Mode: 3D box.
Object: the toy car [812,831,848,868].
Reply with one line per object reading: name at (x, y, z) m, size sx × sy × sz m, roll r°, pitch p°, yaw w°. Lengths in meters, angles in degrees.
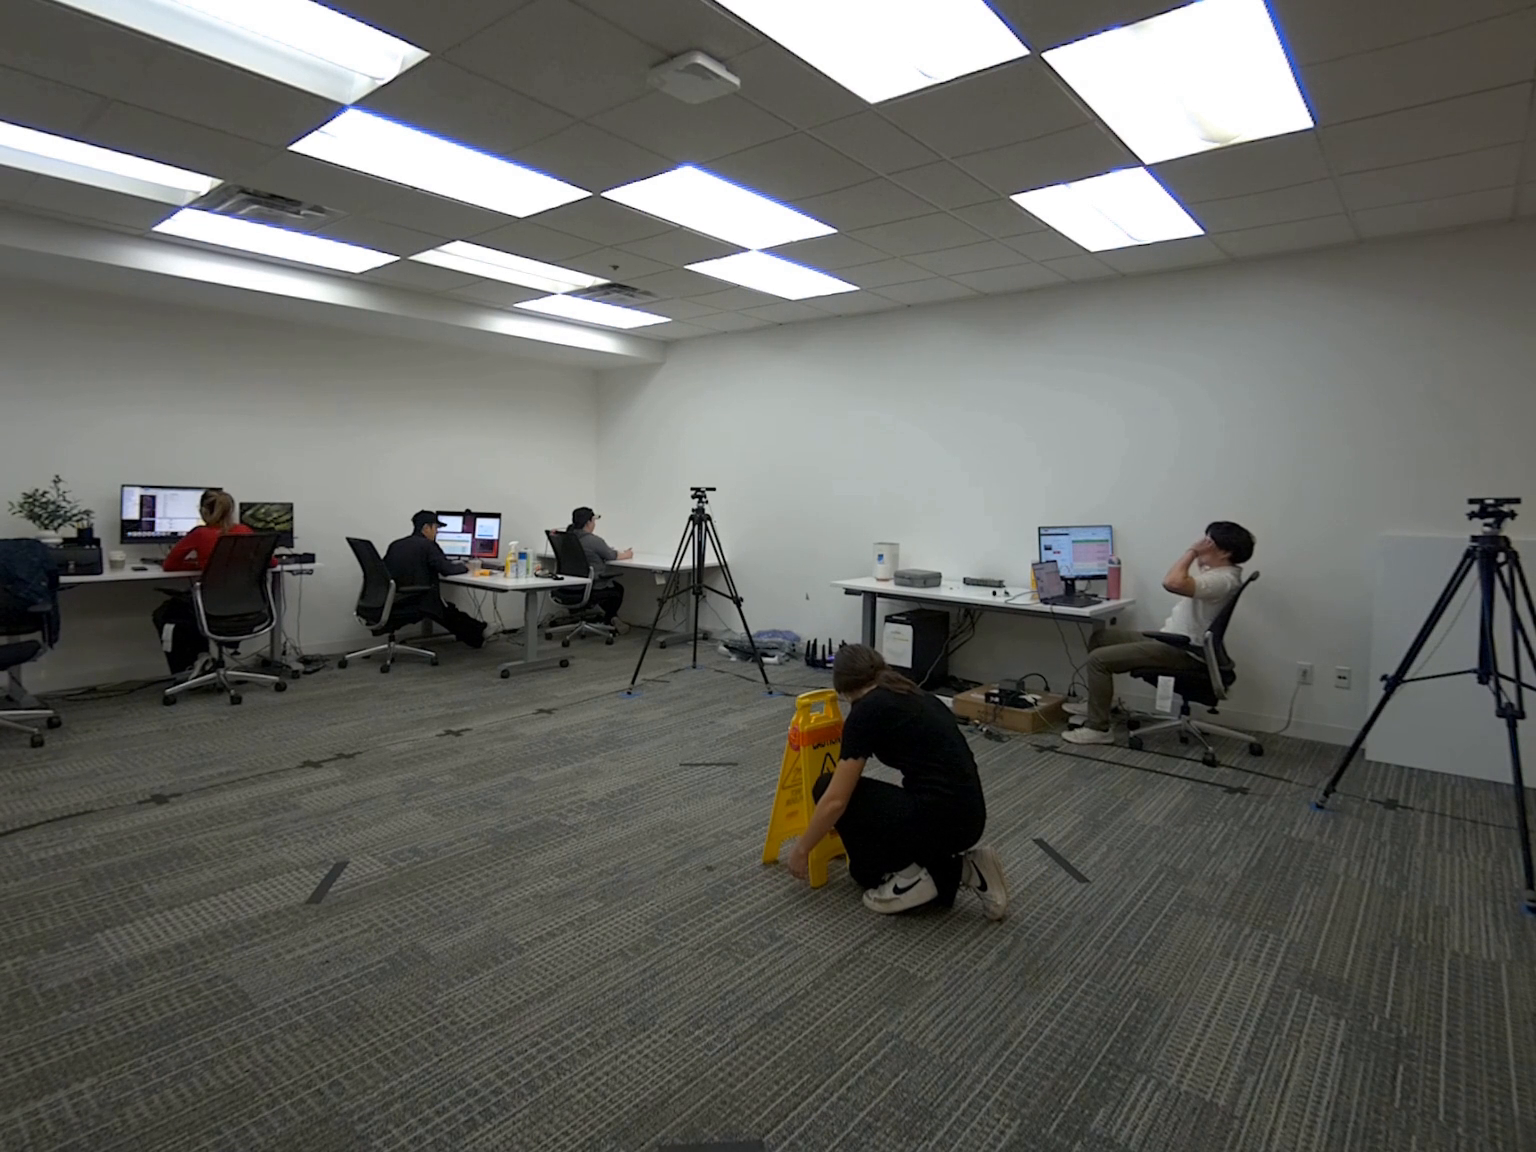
toy car at (0.308, 1.026, 3.306) m, size 0.249 × 0.082 × 0.134 m, roll -17°, pitch 14°, yaw -36°
